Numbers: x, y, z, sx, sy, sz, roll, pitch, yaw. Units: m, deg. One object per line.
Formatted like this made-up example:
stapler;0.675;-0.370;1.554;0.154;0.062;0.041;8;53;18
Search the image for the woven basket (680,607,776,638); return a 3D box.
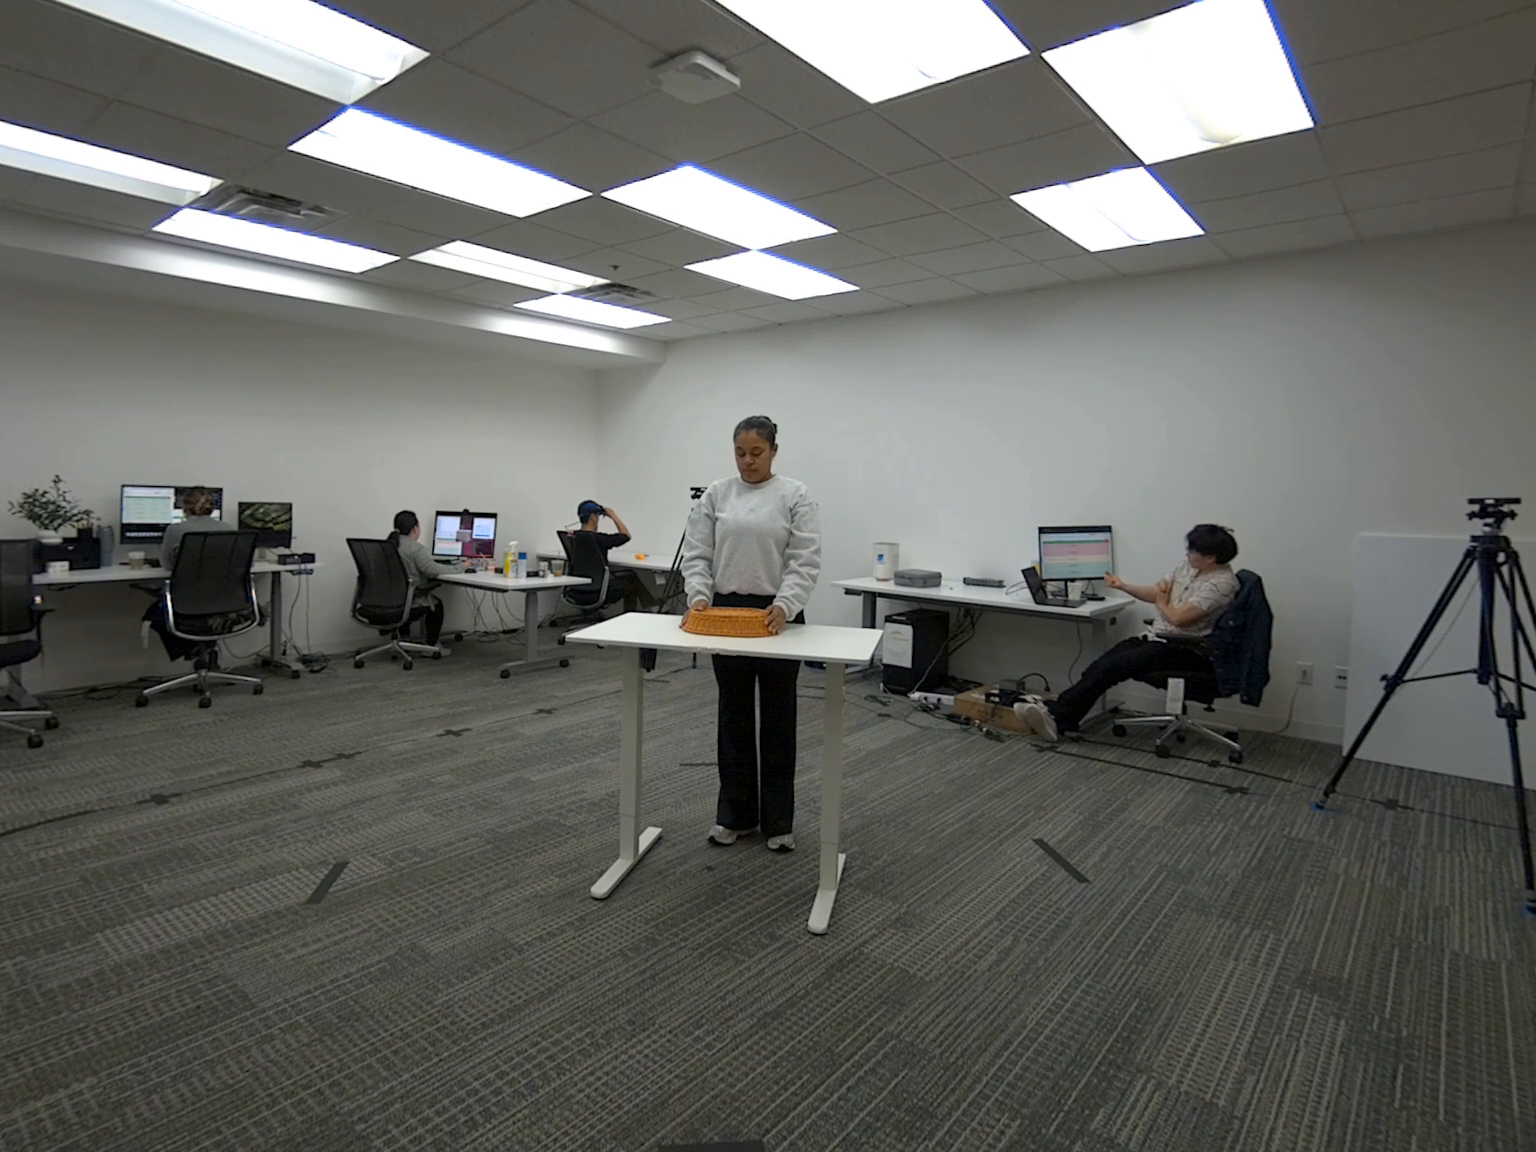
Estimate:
woven basket;-0.166;0.155;3.064;0.358;0.073;0.249;3;8;19
